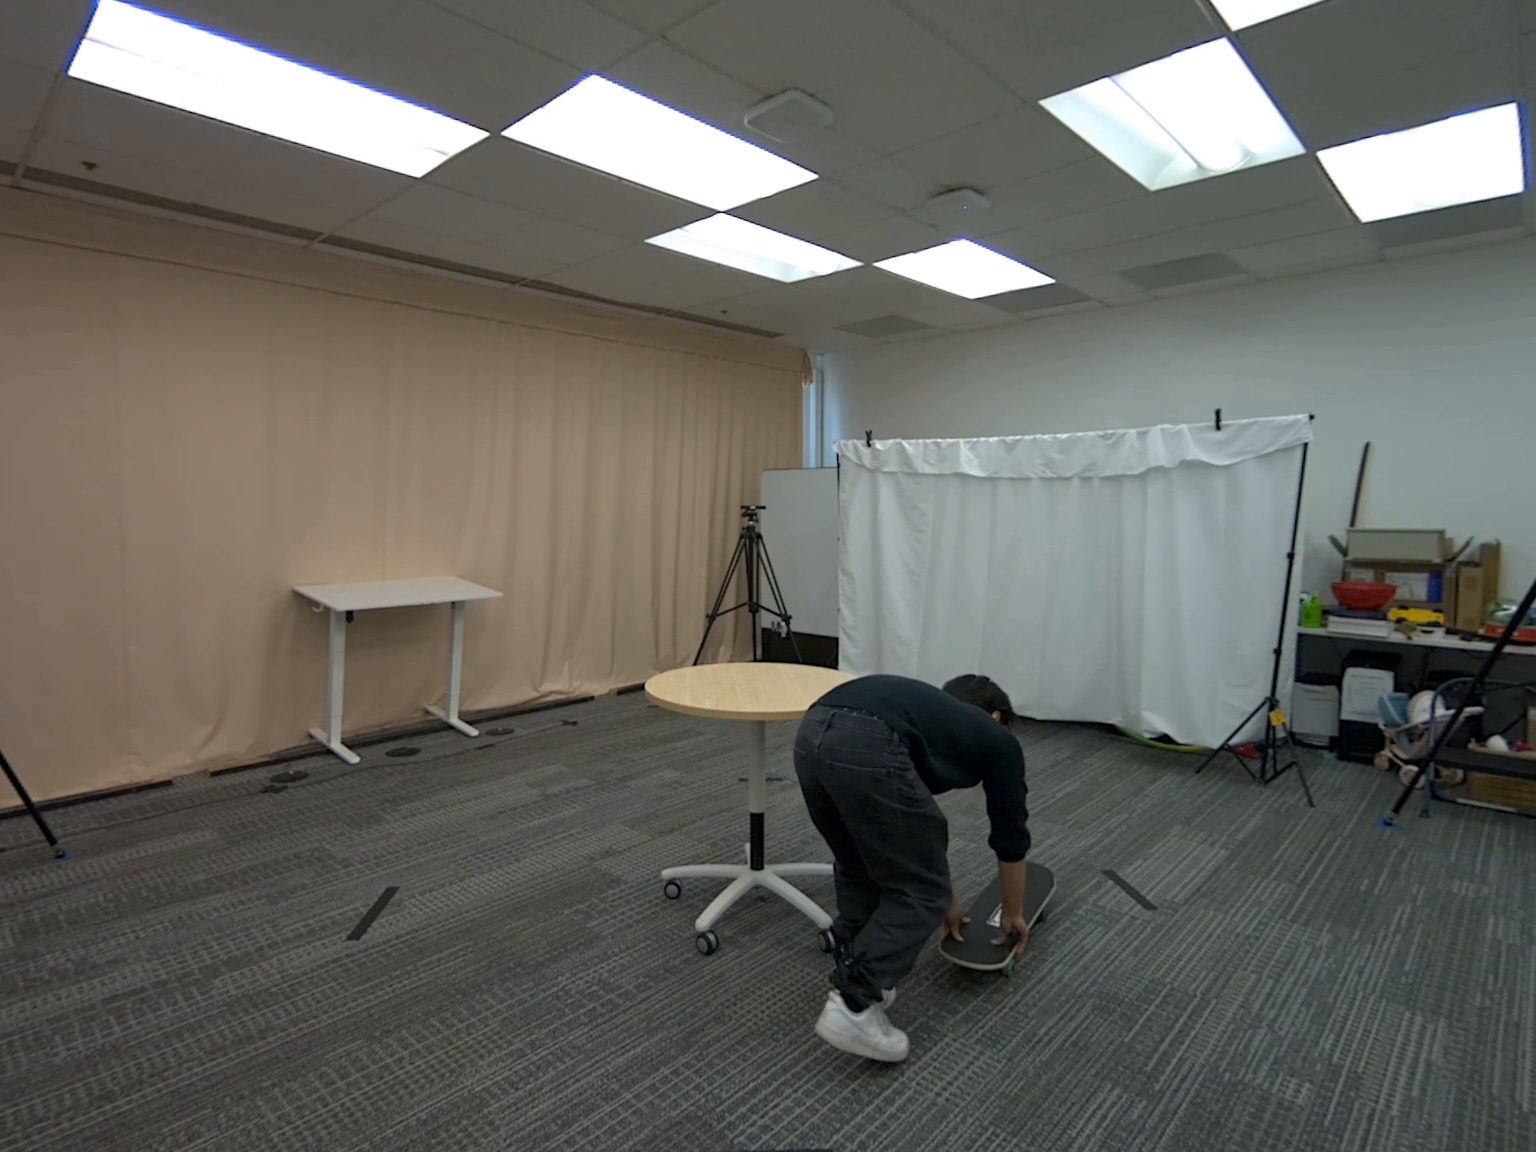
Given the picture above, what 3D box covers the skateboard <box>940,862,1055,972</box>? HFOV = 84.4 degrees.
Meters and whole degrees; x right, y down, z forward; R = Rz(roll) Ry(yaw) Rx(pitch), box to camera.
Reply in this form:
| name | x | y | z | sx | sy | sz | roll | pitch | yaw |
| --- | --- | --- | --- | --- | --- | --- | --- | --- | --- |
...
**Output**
| name | x | y | z | sx | sy | sz | roll | pitch | yaw |
| --- | --- | --- | --- | --- | --- | --- | --- | --- | --- |
| skateboard | 0.763 | 1.116 | 2.697 | 0.199 | 0.110 | 0.764 | 3 | 6 | 32 |
